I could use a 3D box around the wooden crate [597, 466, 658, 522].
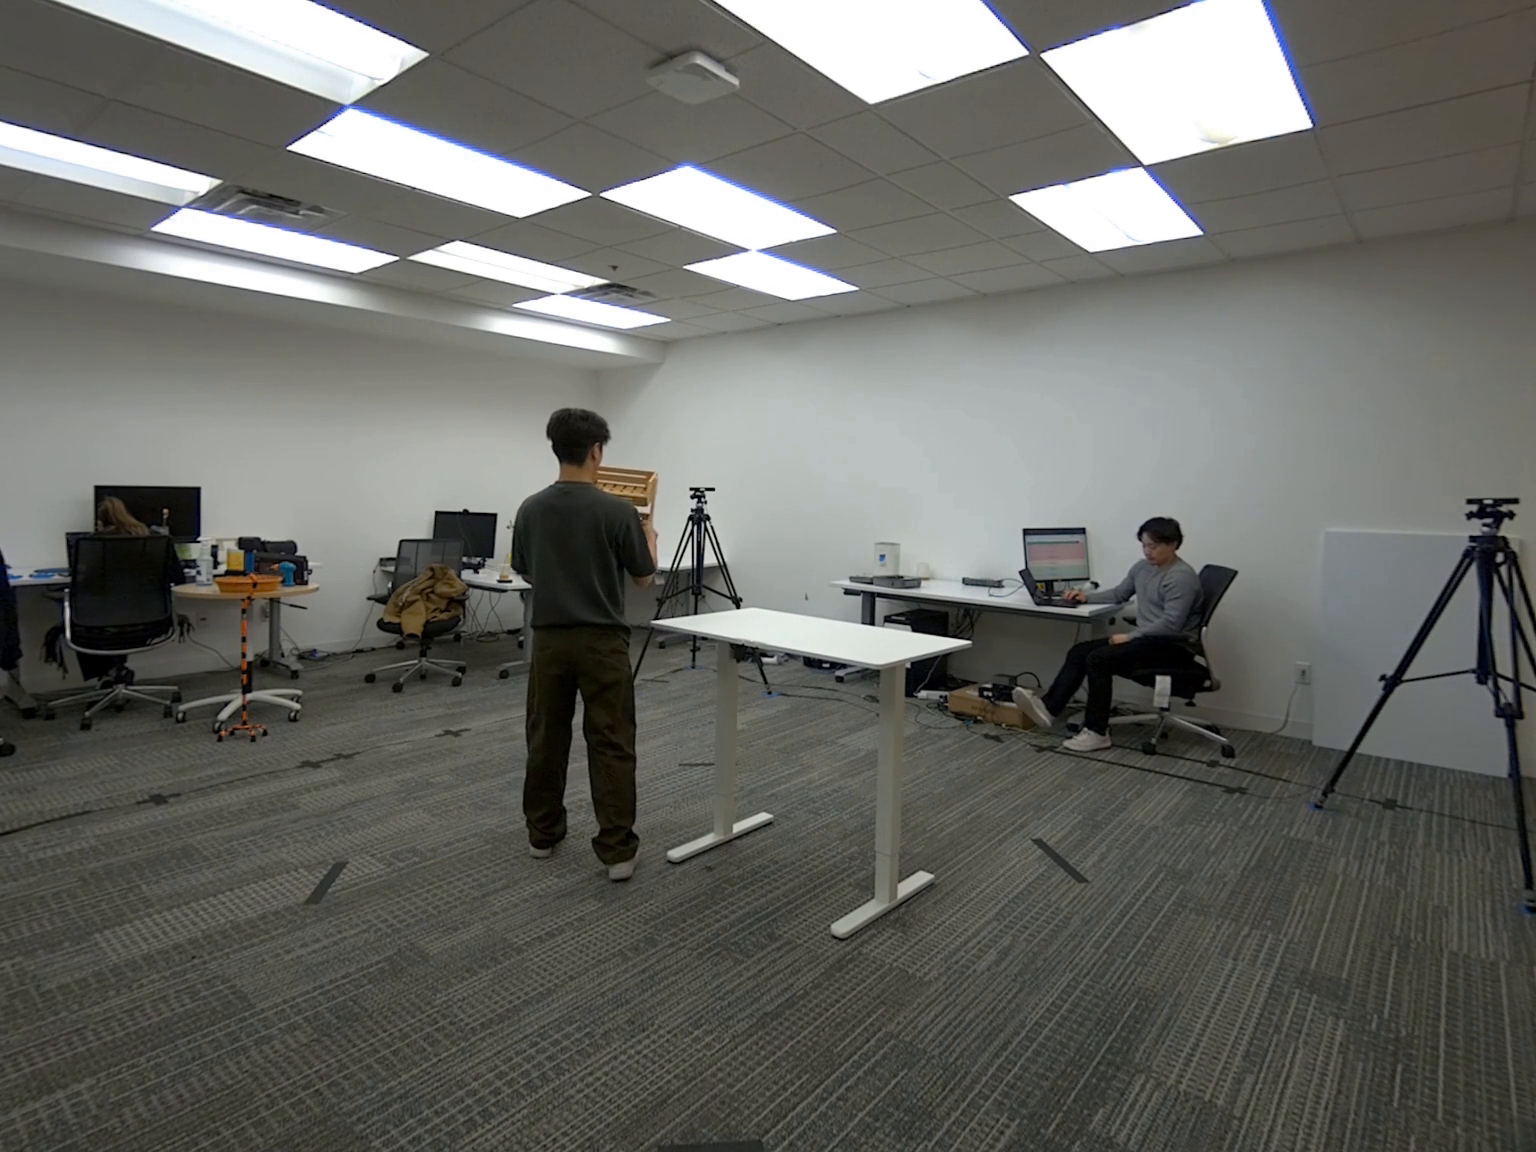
[{"bbox_3d":[-0.634,-0.278,3.435,0.326,0.268,0.306,7,22,4],"label":"wooden crate"}]
